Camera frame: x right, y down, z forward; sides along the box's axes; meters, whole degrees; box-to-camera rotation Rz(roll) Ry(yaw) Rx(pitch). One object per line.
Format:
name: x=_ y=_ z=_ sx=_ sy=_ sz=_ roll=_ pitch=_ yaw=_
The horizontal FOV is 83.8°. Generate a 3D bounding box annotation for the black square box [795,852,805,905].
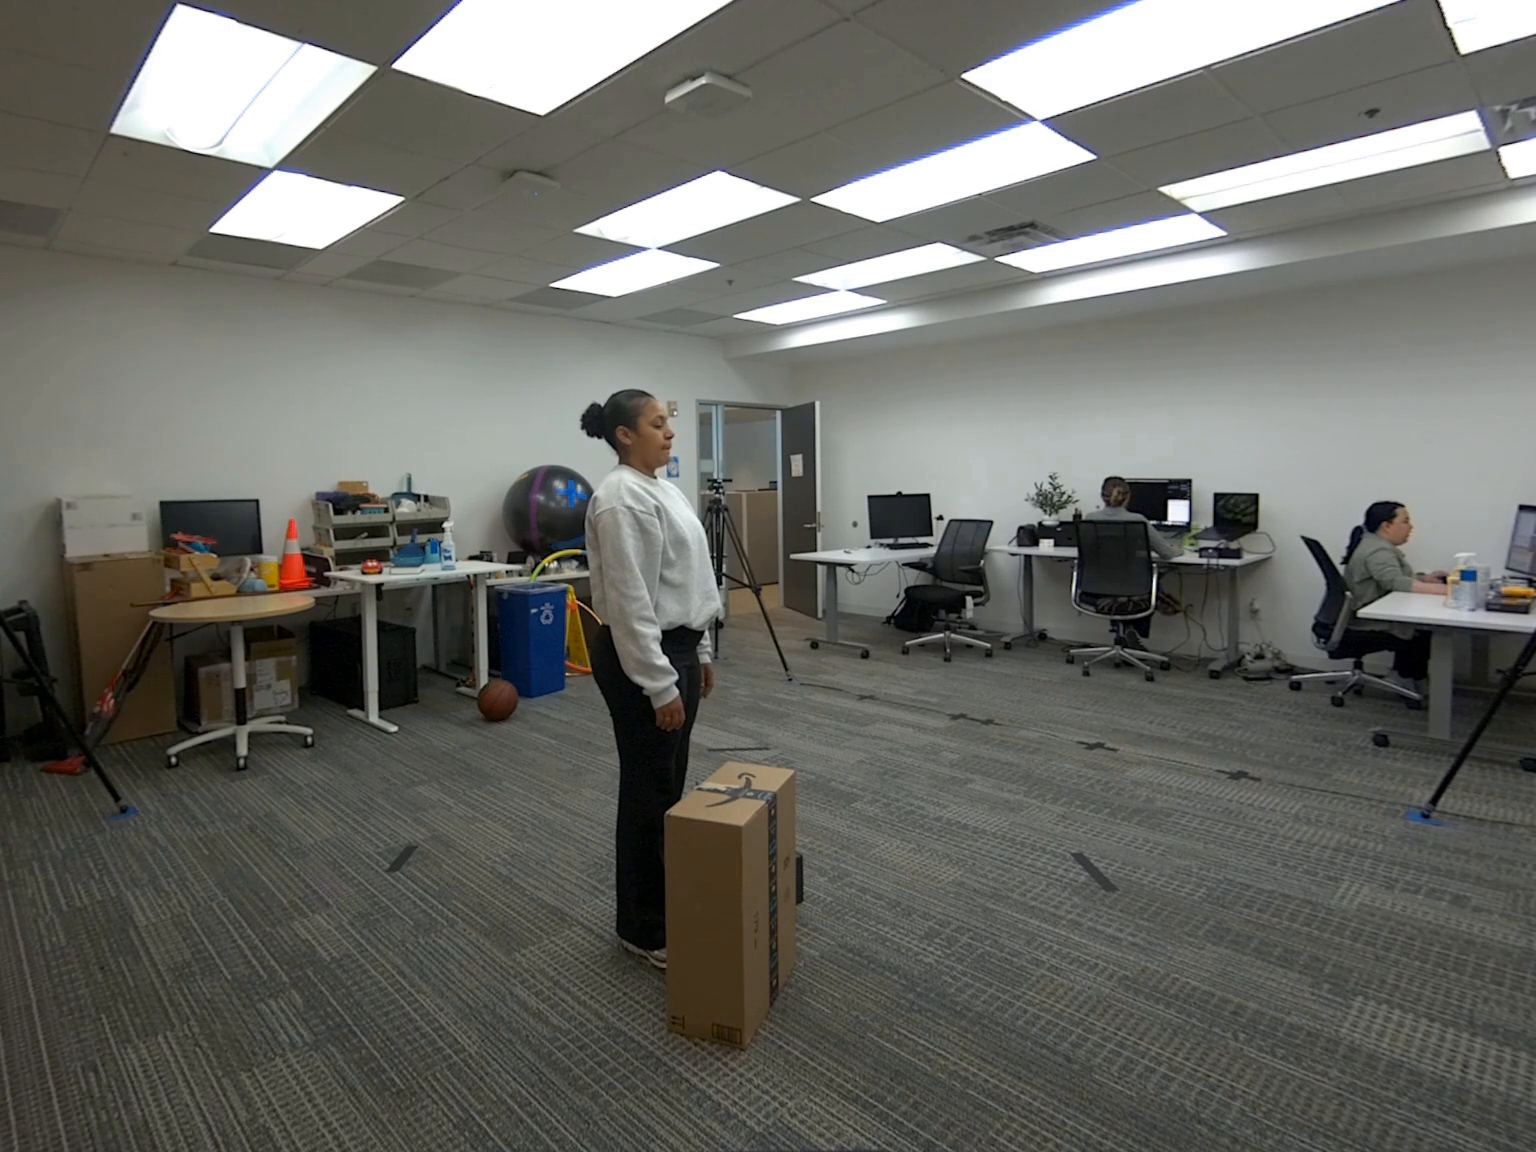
black square box: x=-0.028 y=0.997 z=2.833 sx=0.222 sy=0.155 sz=0.224 roll=-6 pitch=8 yaw=-38
